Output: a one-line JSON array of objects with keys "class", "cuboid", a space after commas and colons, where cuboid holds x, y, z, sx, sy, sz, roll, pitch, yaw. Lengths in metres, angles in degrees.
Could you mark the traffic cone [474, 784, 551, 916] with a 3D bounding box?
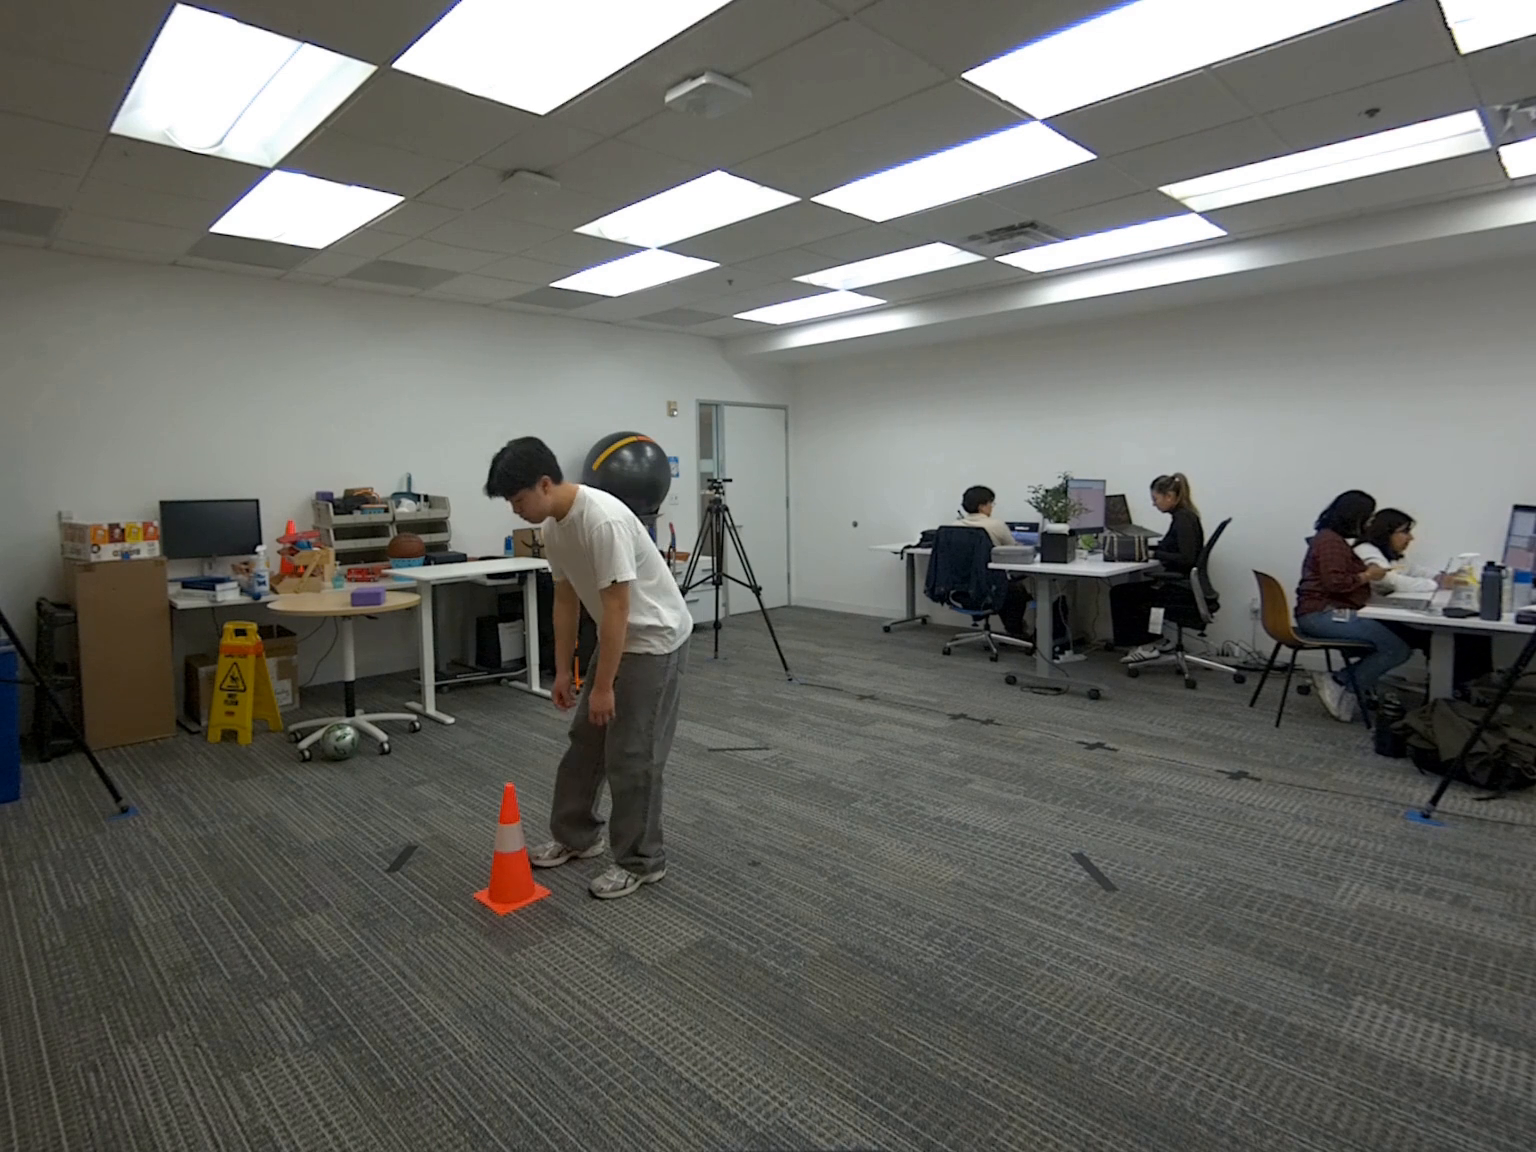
[{"class": "traffic cone", "cuboid": [-0.876, 0.900, 2.904, 0.200, 0.382, 0.209, -5, 4, -41]}]
